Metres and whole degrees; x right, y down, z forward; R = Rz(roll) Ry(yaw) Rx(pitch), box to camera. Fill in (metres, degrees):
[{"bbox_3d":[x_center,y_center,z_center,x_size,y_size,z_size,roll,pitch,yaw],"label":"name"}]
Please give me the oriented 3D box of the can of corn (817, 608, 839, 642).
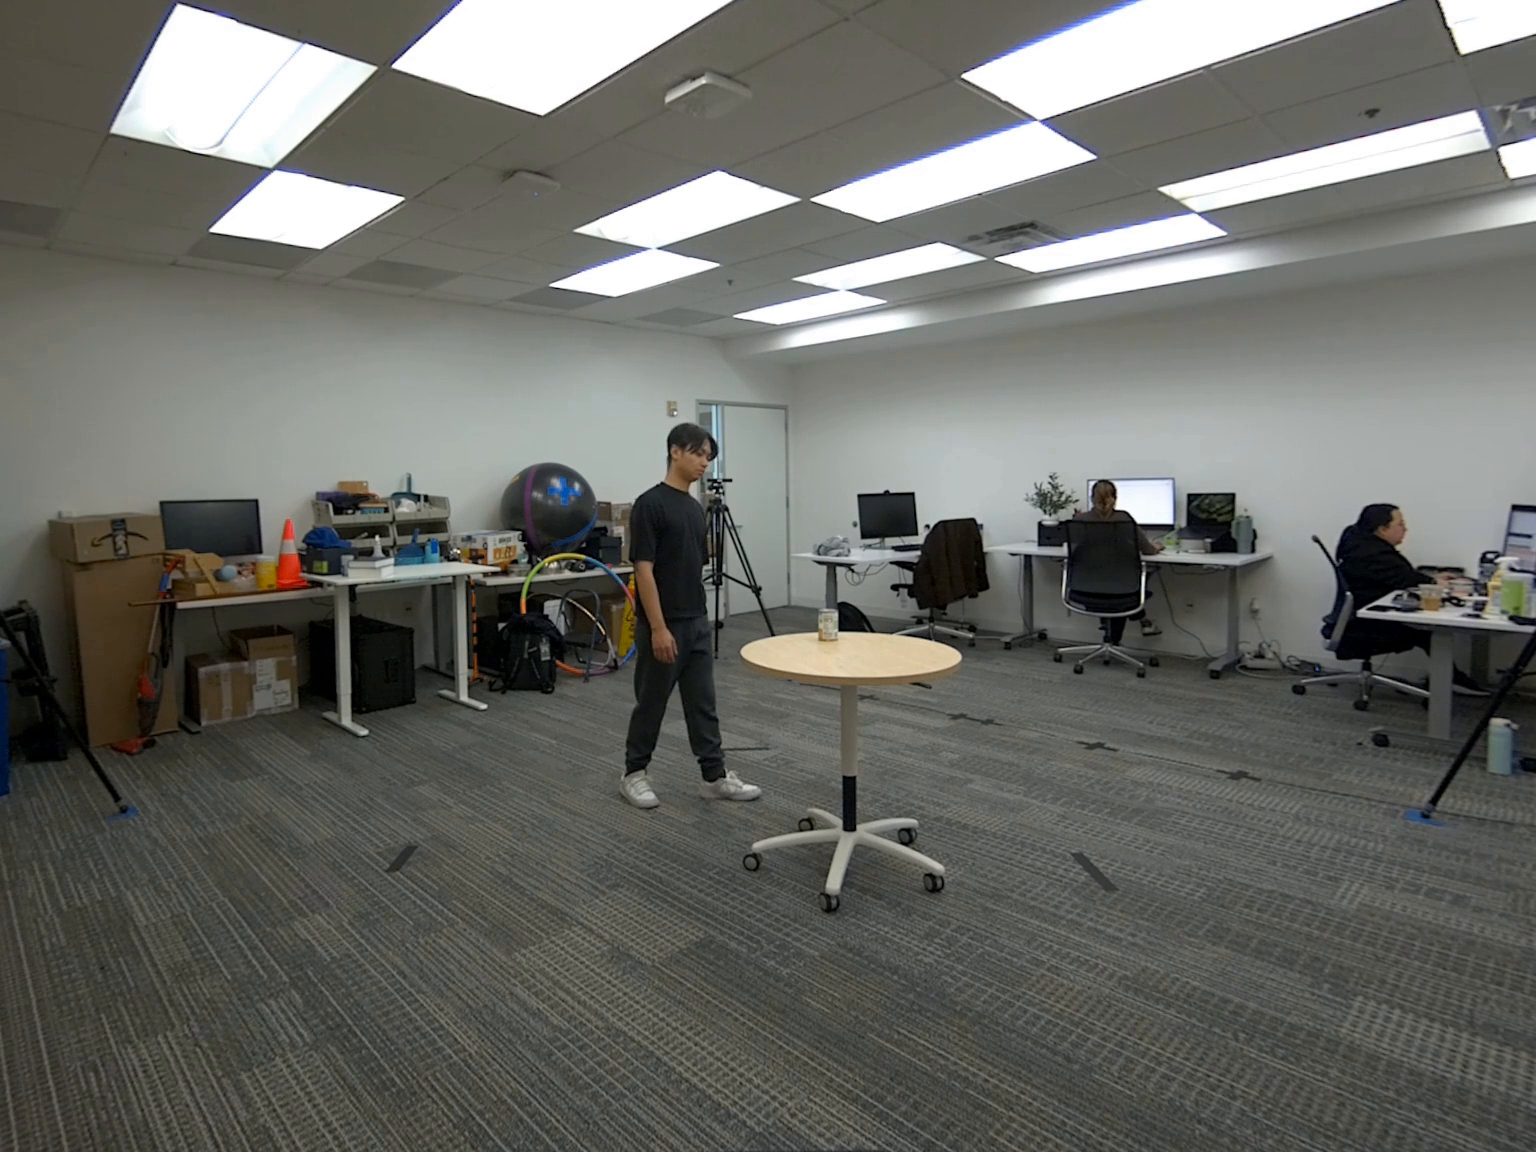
[{"bbox_3d":[0.231,0.187,3.231,0.074,0.110,0.074,-1,4,-2],"label":"can of corn"}]
